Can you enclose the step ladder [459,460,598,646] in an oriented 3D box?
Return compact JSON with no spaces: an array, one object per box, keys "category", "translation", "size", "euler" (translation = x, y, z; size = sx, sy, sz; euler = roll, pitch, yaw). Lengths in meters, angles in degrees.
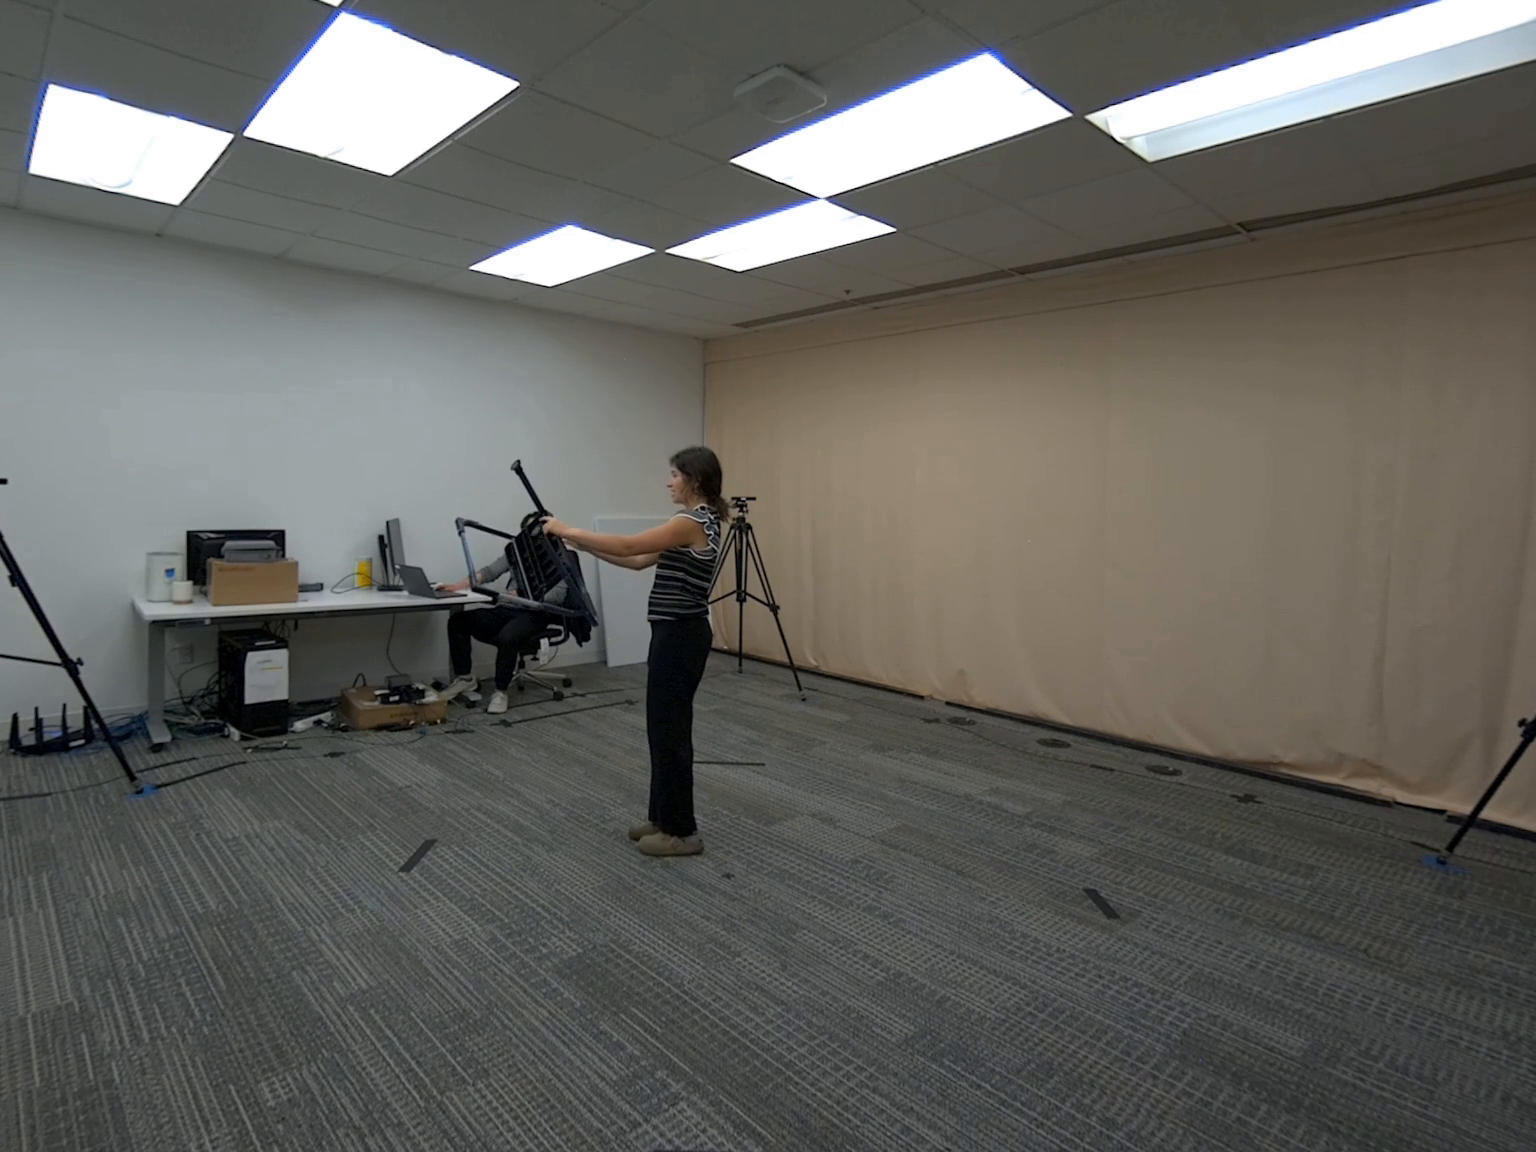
[{"category":"step ladder","translation":[-0.828,-0.057,3.233],"size":[0.586,0.350,0.444],"euler":[40,14,-47]}]
